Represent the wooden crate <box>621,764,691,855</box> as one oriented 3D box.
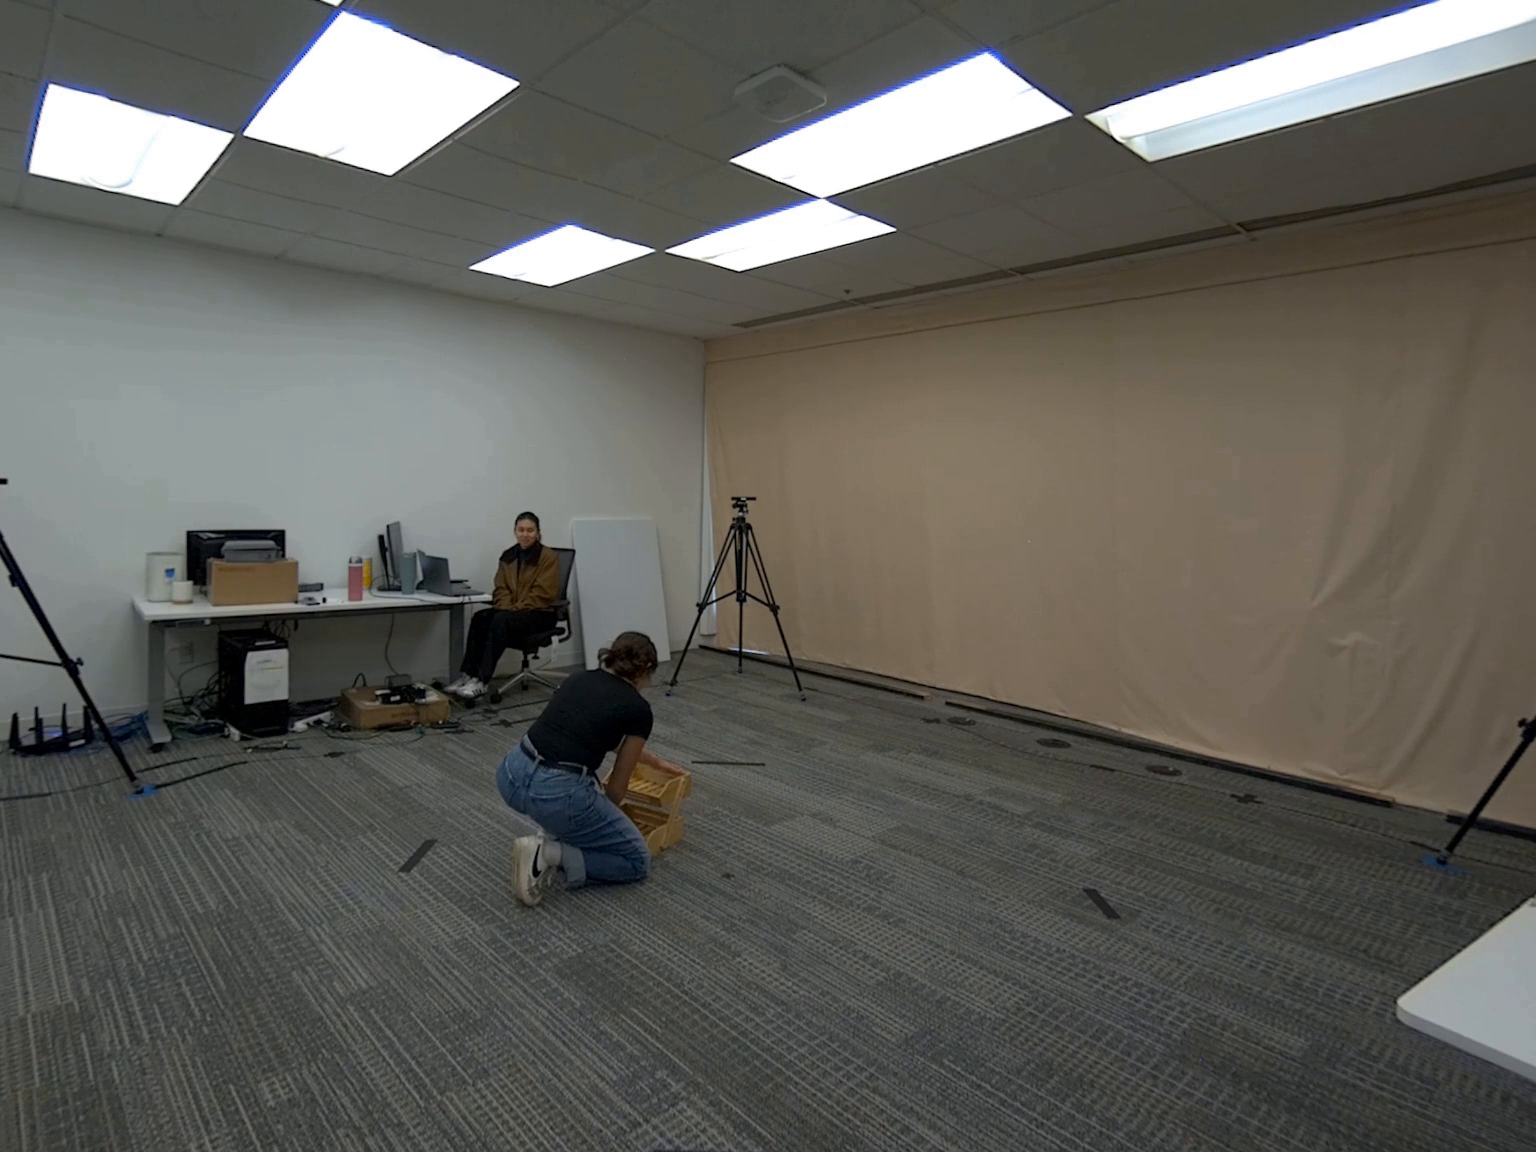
[{"bbox_3d":[-0.531,0.933,3.419,0.332,0.272,0.296,5,5,32],"label":"wooden crate"}]
